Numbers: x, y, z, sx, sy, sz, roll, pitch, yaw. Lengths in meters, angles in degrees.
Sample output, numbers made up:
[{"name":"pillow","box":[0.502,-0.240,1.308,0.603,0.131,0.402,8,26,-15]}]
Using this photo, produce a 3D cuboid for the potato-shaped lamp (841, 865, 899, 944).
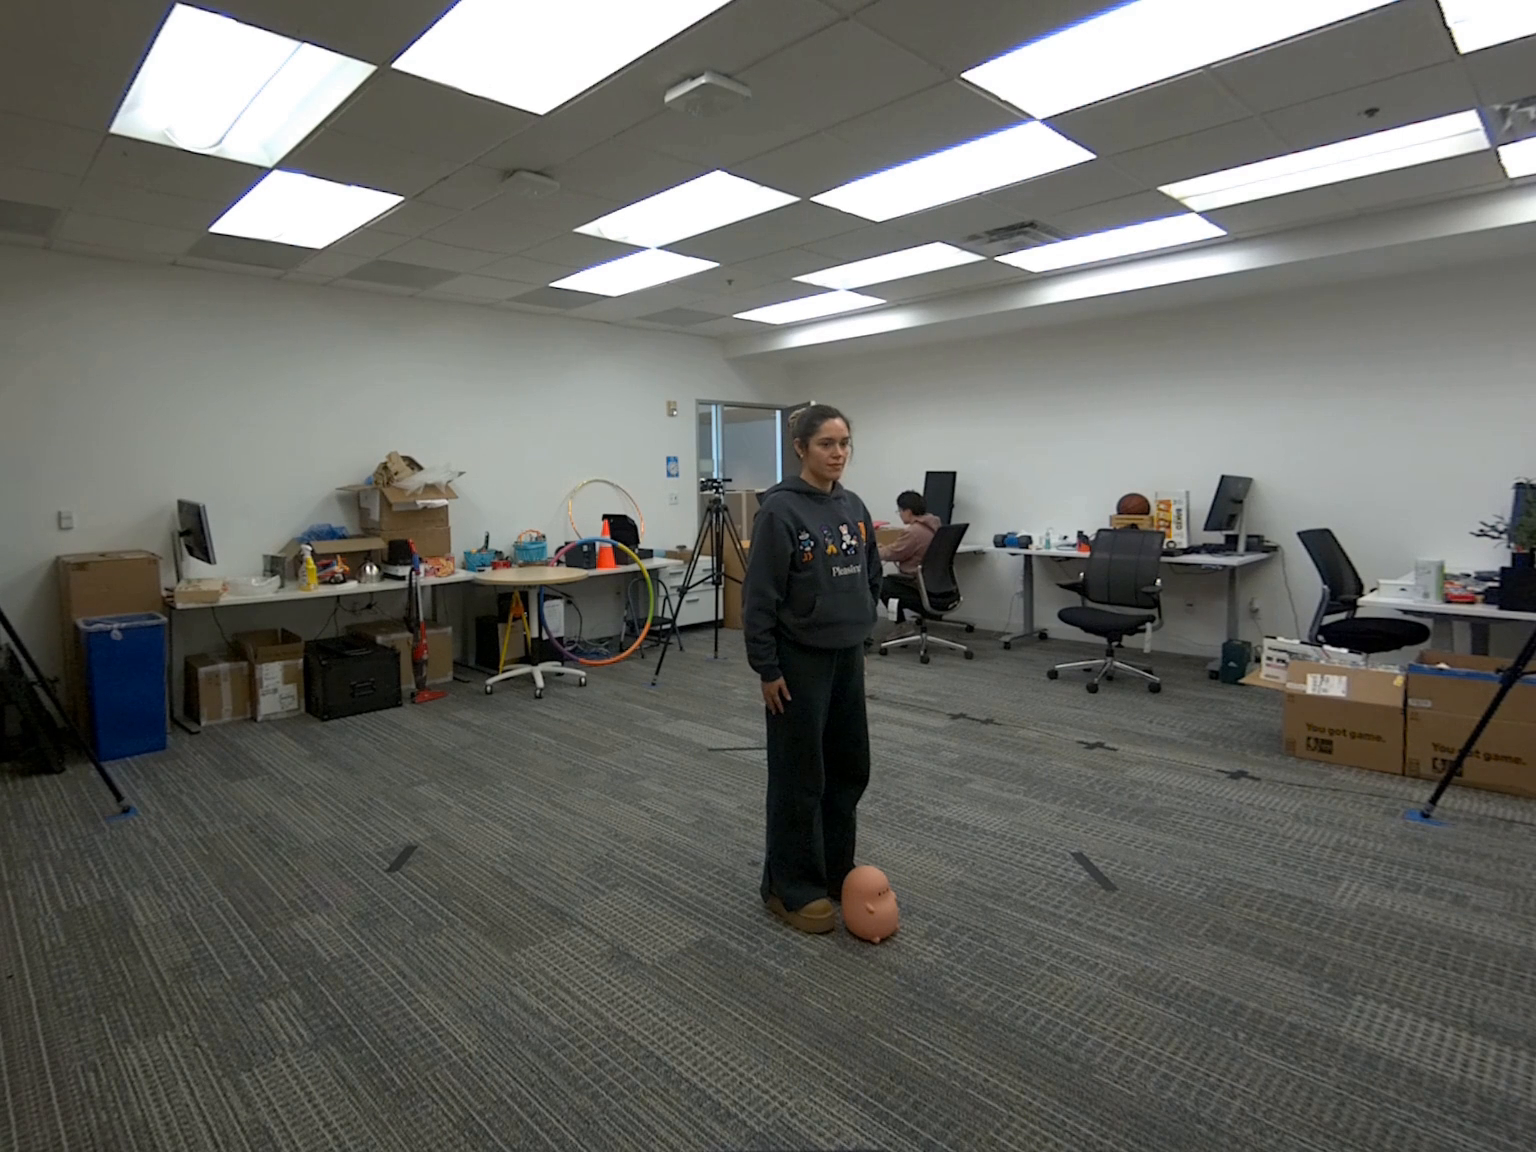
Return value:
[{"name":"potato-shaped lamp","box":[0.309,0.991,2.614,0.176,0.198,0.160,-1,2,45]}]
